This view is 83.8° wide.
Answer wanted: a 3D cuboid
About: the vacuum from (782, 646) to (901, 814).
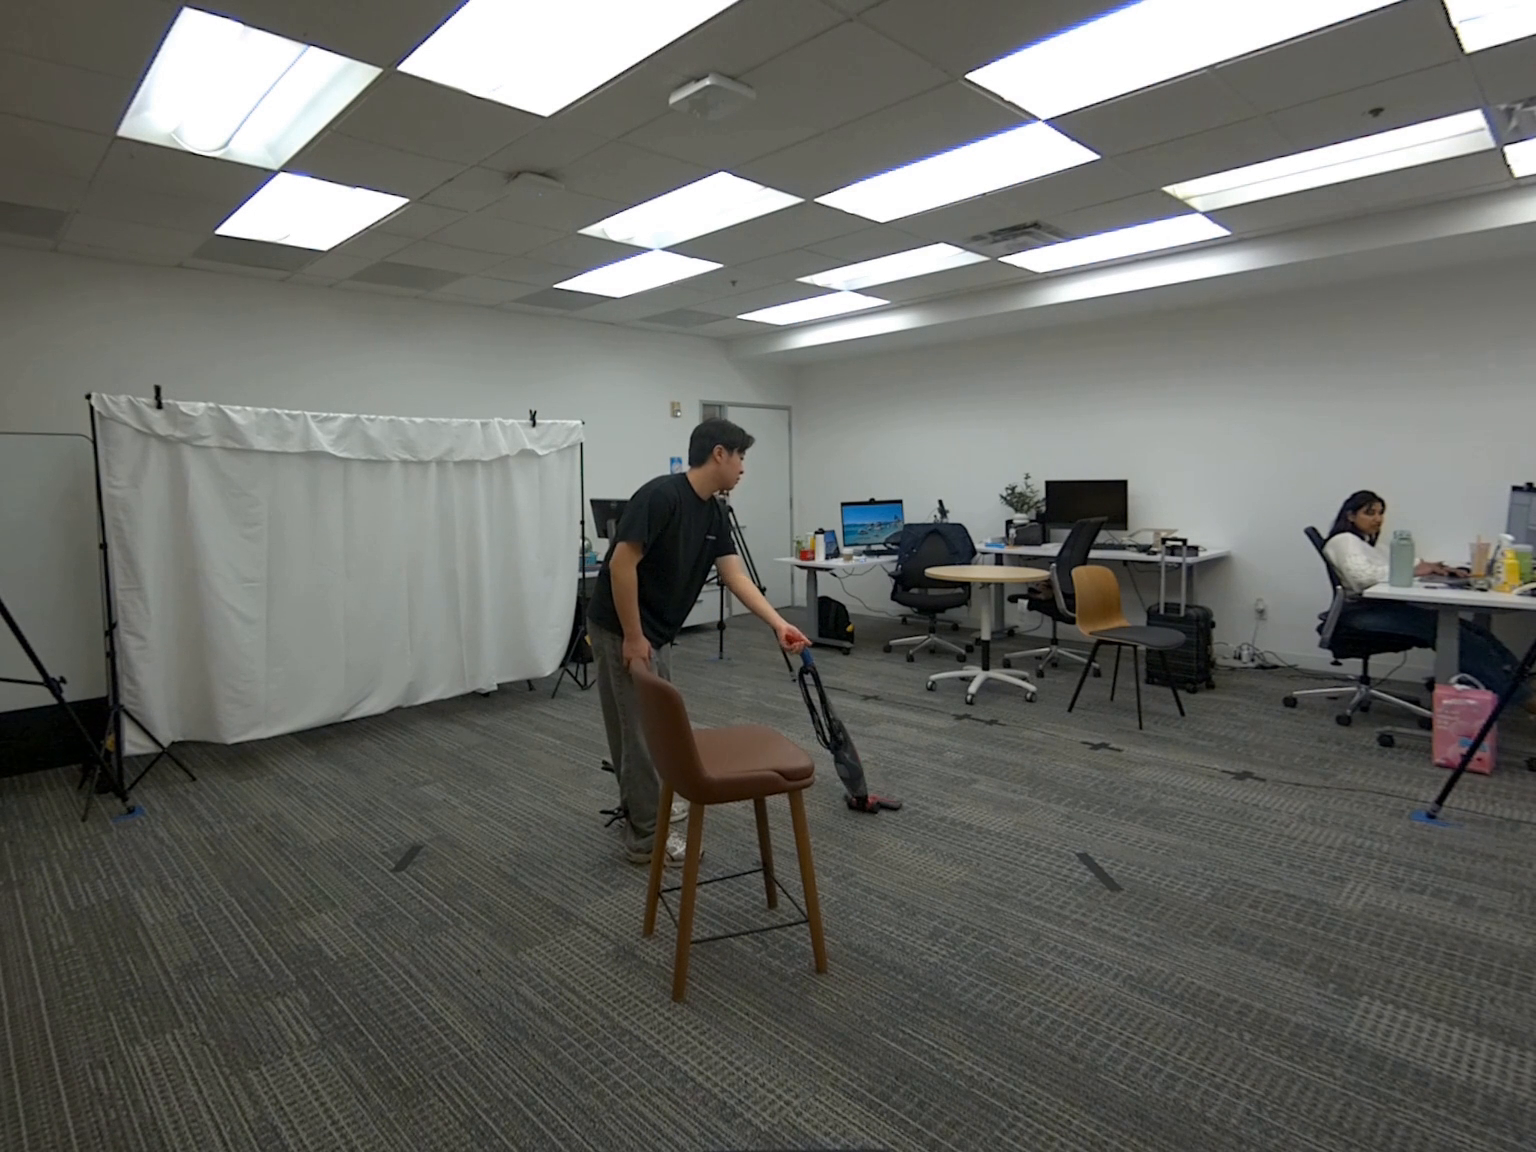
[{"bbox_3d":[0.249,0.591,3.348,0.260,1.013,0.145,3,44,36],"label":"vacuum"}]
